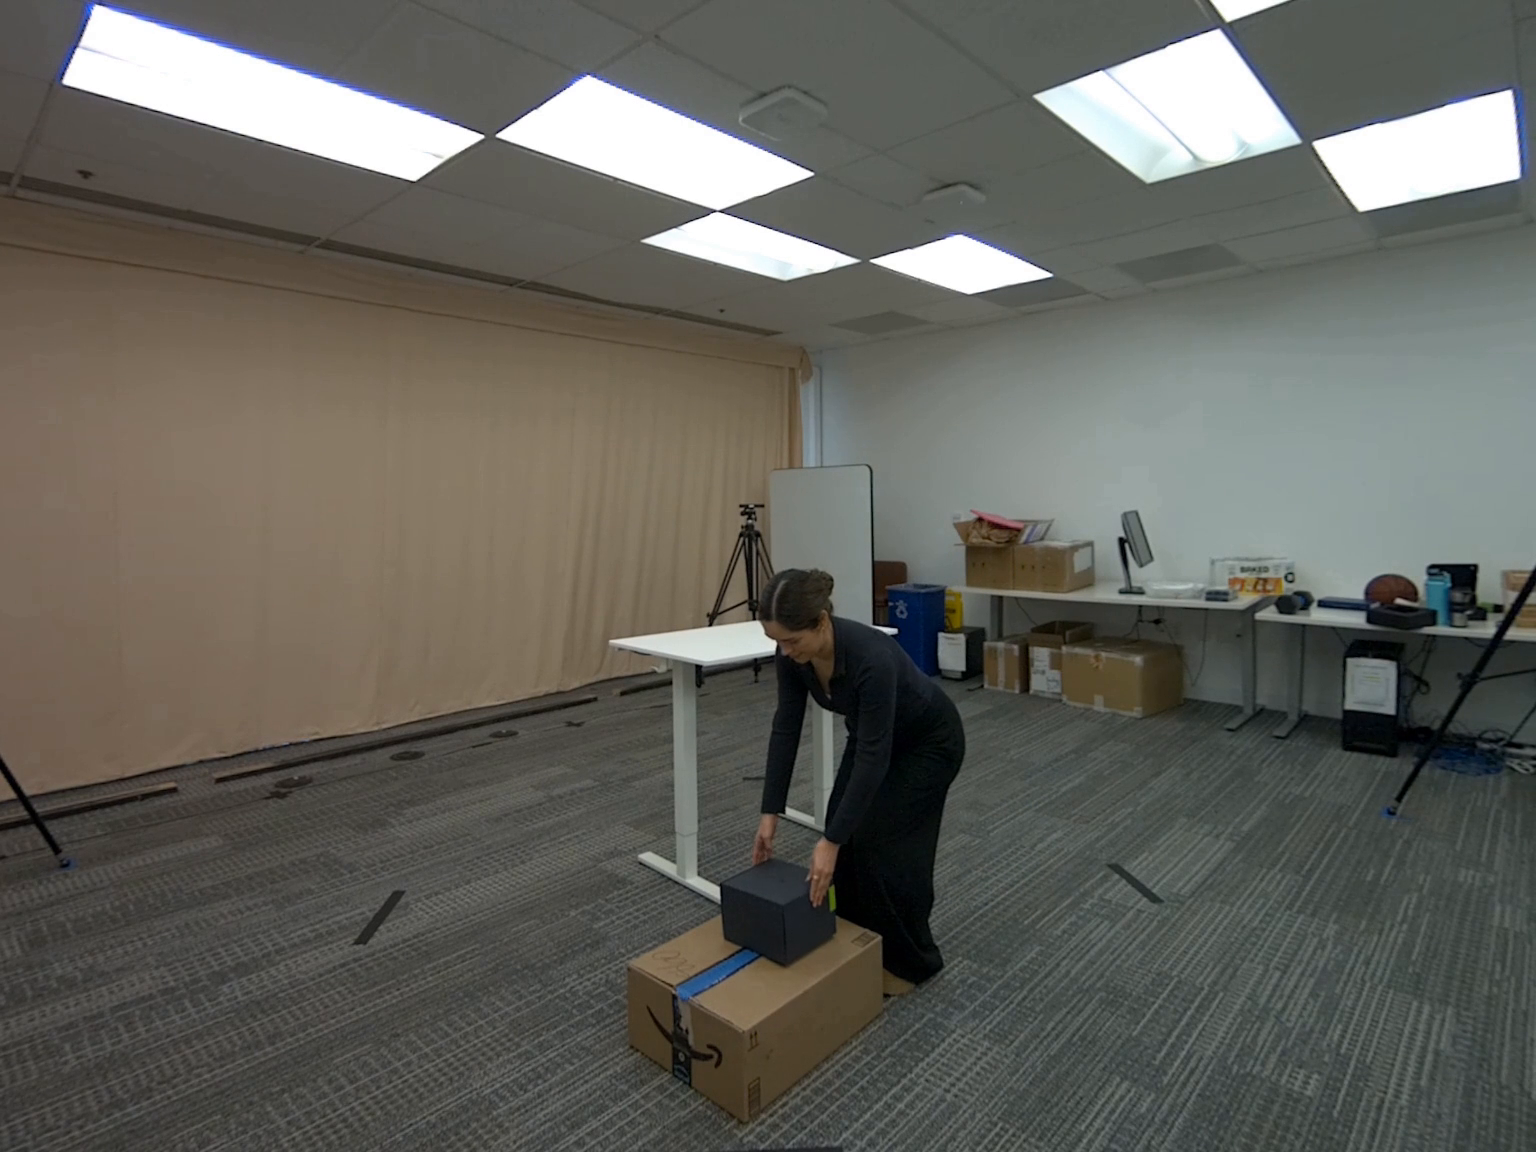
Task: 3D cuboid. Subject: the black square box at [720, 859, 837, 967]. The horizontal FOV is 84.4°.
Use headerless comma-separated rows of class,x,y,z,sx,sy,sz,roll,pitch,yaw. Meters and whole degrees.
black square box,0.033,0.893,2.273,0.235,0.156,0.210,-1,4,43
